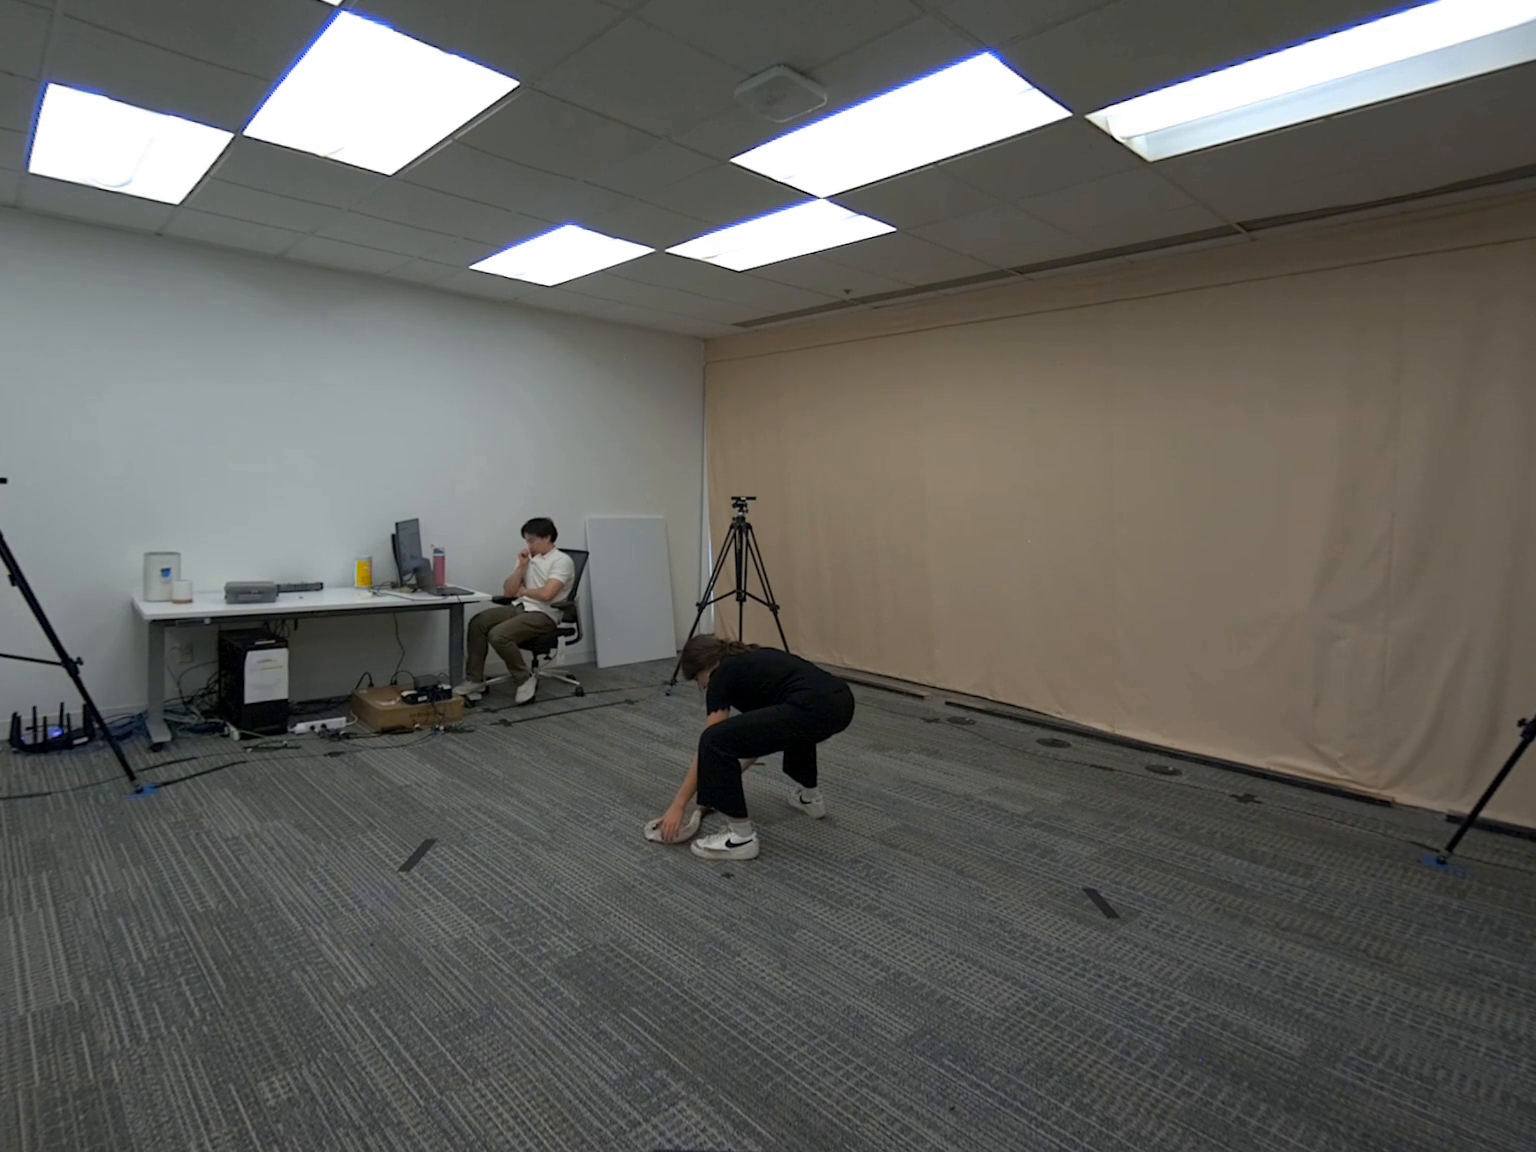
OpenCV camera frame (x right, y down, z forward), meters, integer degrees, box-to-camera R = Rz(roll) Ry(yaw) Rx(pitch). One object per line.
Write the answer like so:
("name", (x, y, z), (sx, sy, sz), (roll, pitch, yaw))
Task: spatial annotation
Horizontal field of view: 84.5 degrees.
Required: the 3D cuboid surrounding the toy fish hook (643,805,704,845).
("toy fish hook", (-0.369, 1.034, 3.617), (0.228, 0.048, 0.500), (5, 6, 18))
